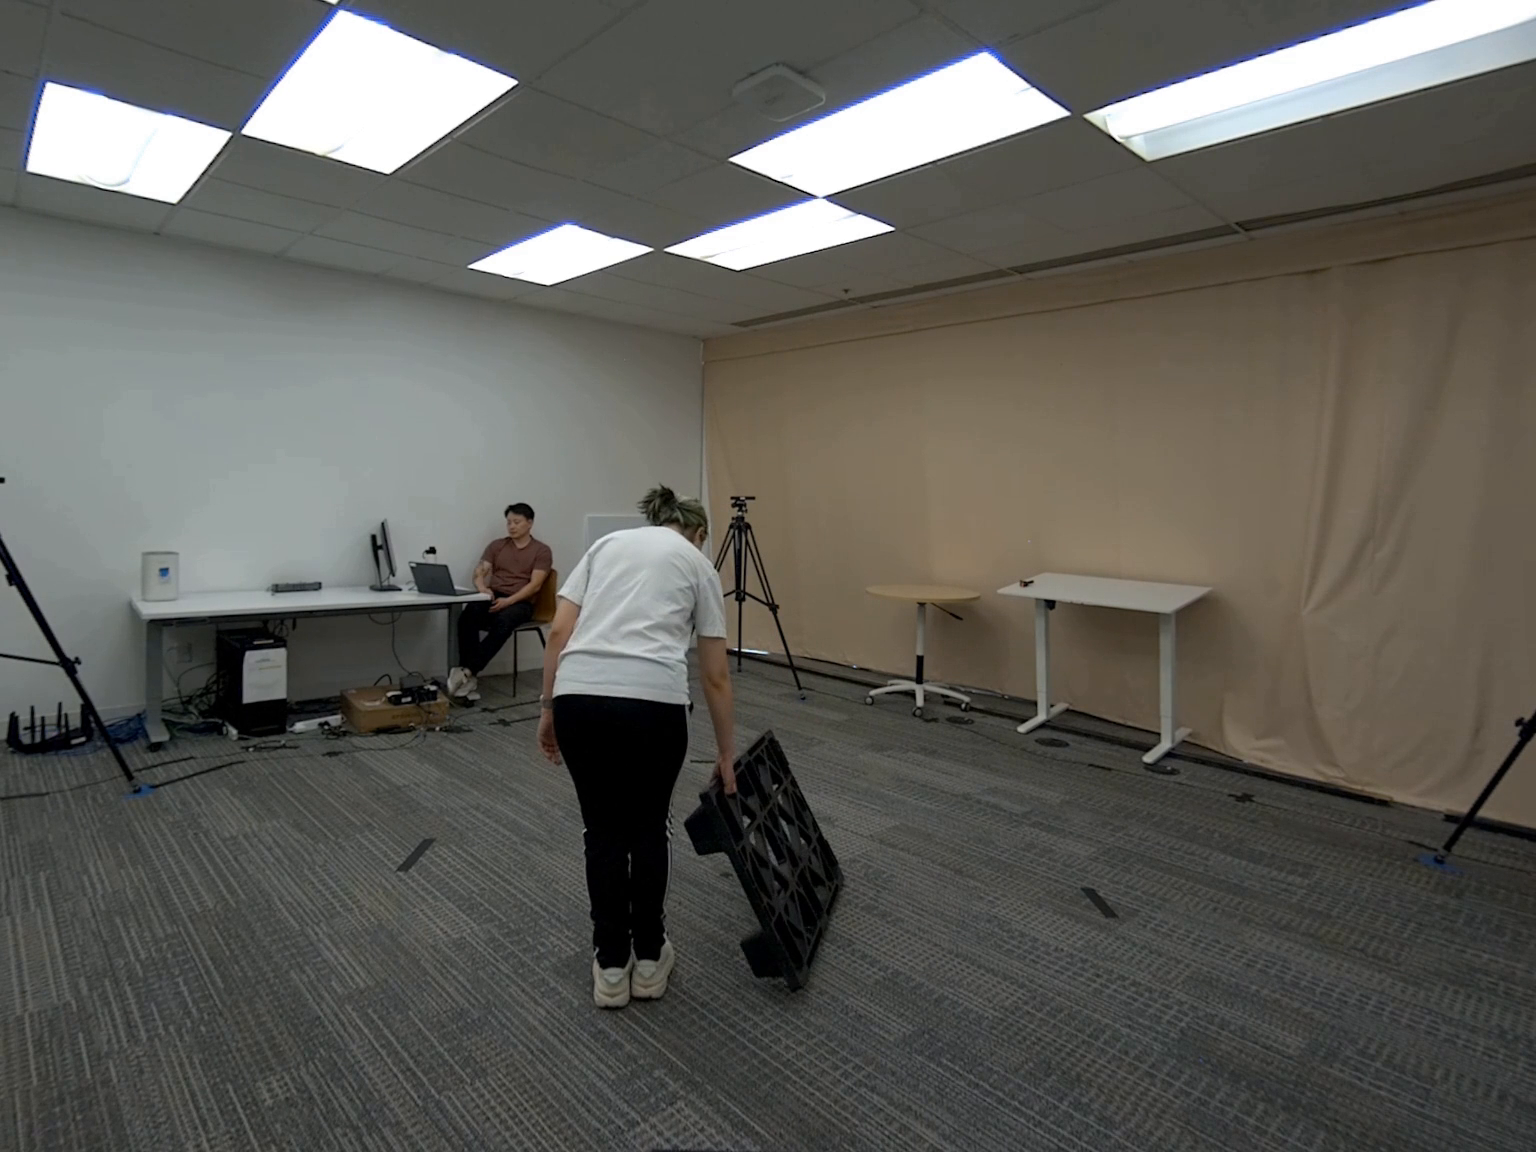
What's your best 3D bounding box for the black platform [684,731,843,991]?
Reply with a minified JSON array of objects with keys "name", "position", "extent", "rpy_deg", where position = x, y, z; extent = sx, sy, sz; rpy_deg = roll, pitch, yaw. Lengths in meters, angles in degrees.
[{"name":"black platform","position":[0.004,0.885,2.742],"extent":[0.144,0.609,0.797],"rpy_deg":[-28,-5,13]}]
